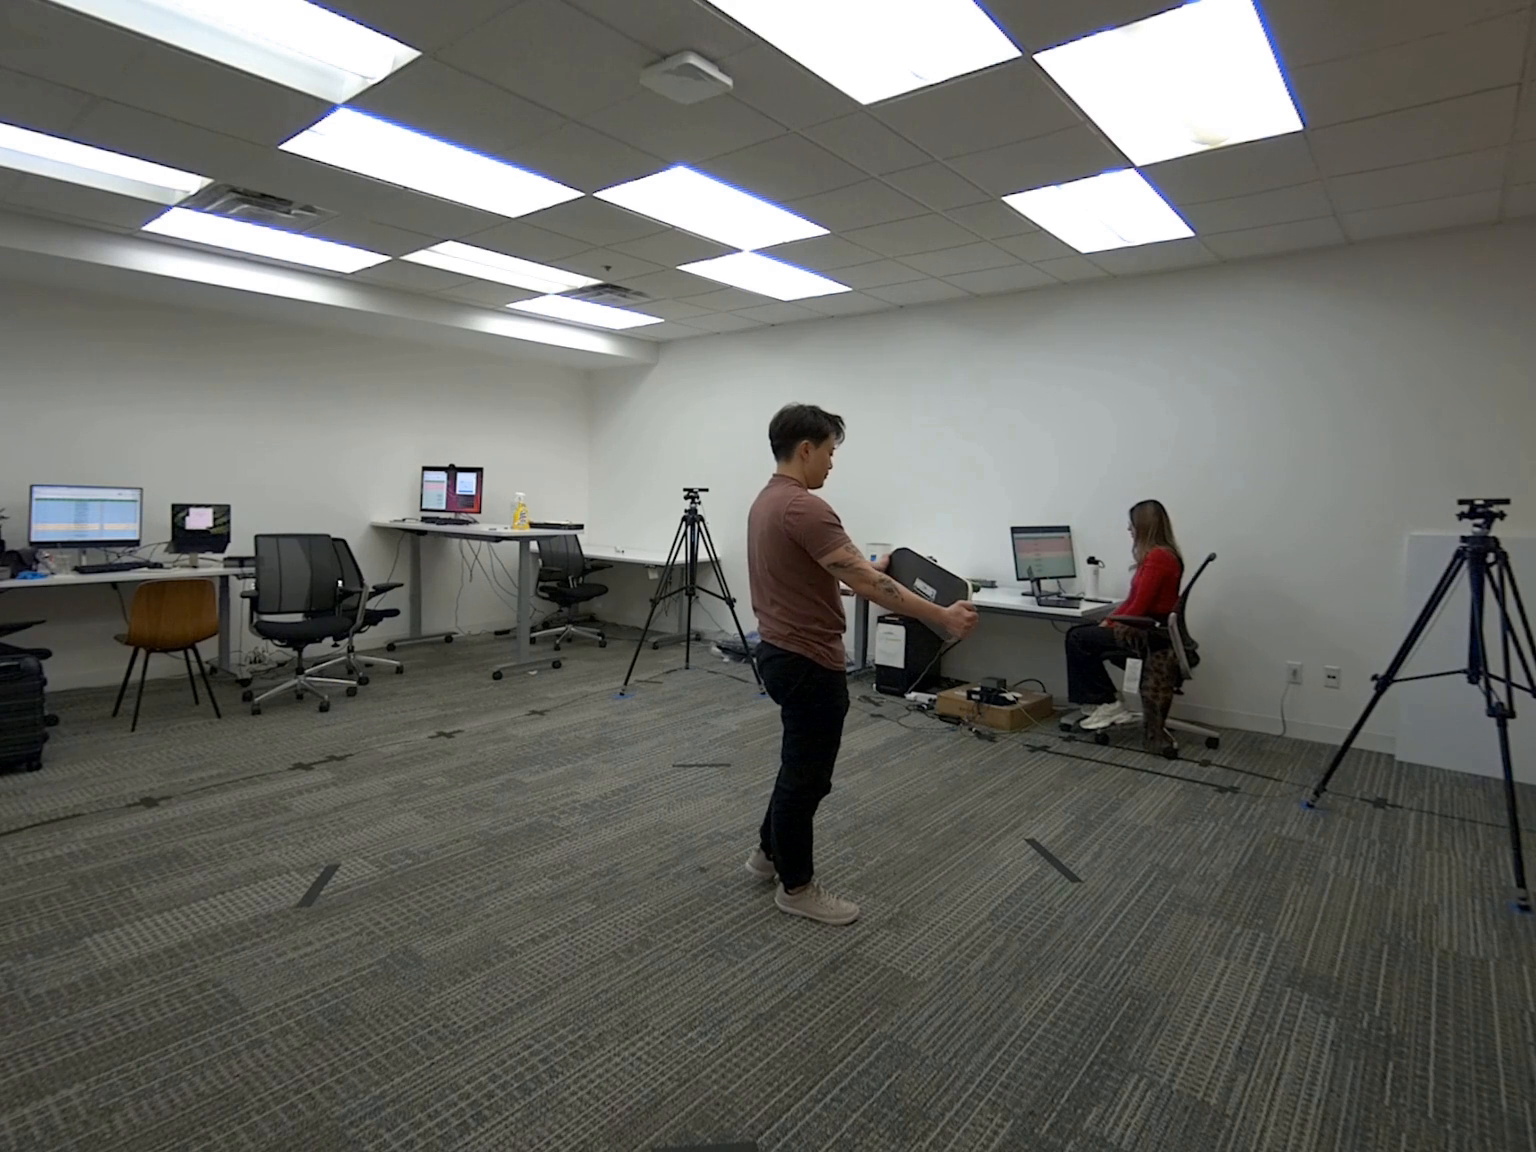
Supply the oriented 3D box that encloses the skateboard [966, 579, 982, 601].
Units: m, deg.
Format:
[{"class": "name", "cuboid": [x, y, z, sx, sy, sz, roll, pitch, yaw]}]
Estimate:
[{"class": "skateboard", "cuboid": [0.545, 0.064, 2.828, 0.109, 0.192, 0.798, 16, 9, -11]}]
